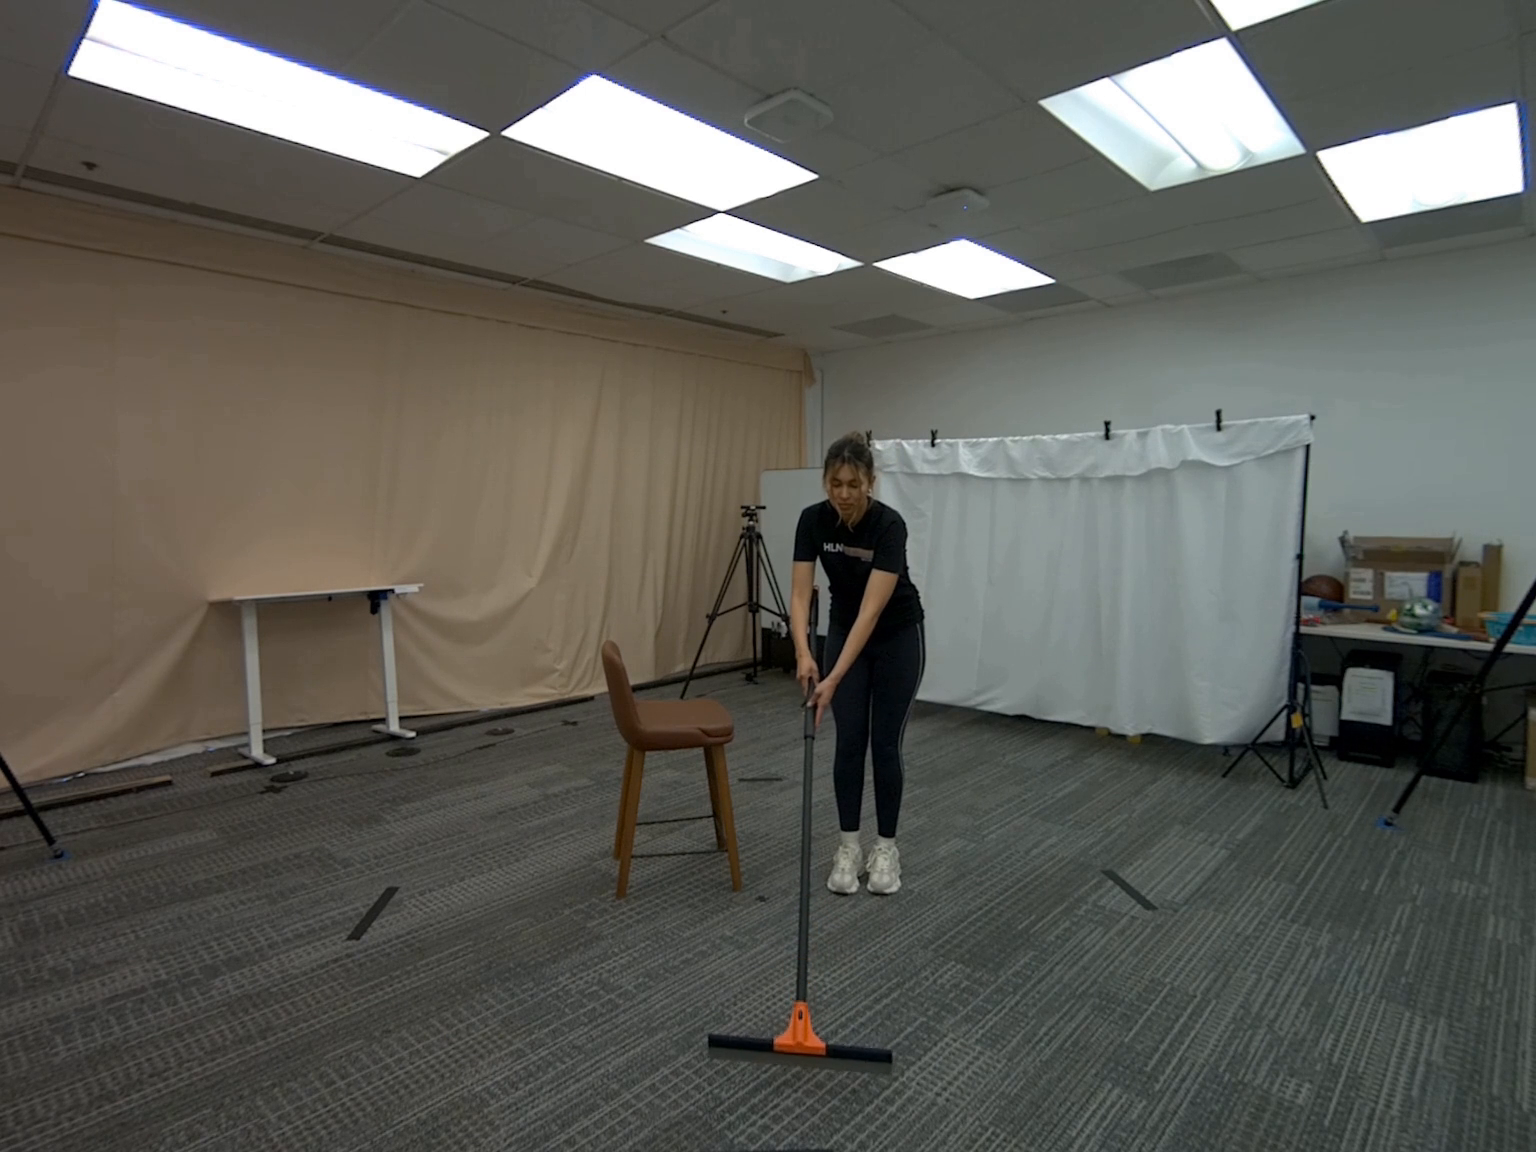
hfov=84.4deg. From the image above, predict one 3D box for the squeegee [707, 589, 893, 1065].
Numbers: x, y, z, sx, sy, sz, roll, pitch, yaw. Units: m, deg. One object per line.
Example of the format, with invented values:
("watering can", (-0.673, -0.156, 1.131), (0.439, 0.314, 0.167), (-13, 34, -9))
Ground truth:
("squeegee", (0.150, 0.601, 2.491), (0.442, 0.052, 1.559), (-2, 45, 8))
